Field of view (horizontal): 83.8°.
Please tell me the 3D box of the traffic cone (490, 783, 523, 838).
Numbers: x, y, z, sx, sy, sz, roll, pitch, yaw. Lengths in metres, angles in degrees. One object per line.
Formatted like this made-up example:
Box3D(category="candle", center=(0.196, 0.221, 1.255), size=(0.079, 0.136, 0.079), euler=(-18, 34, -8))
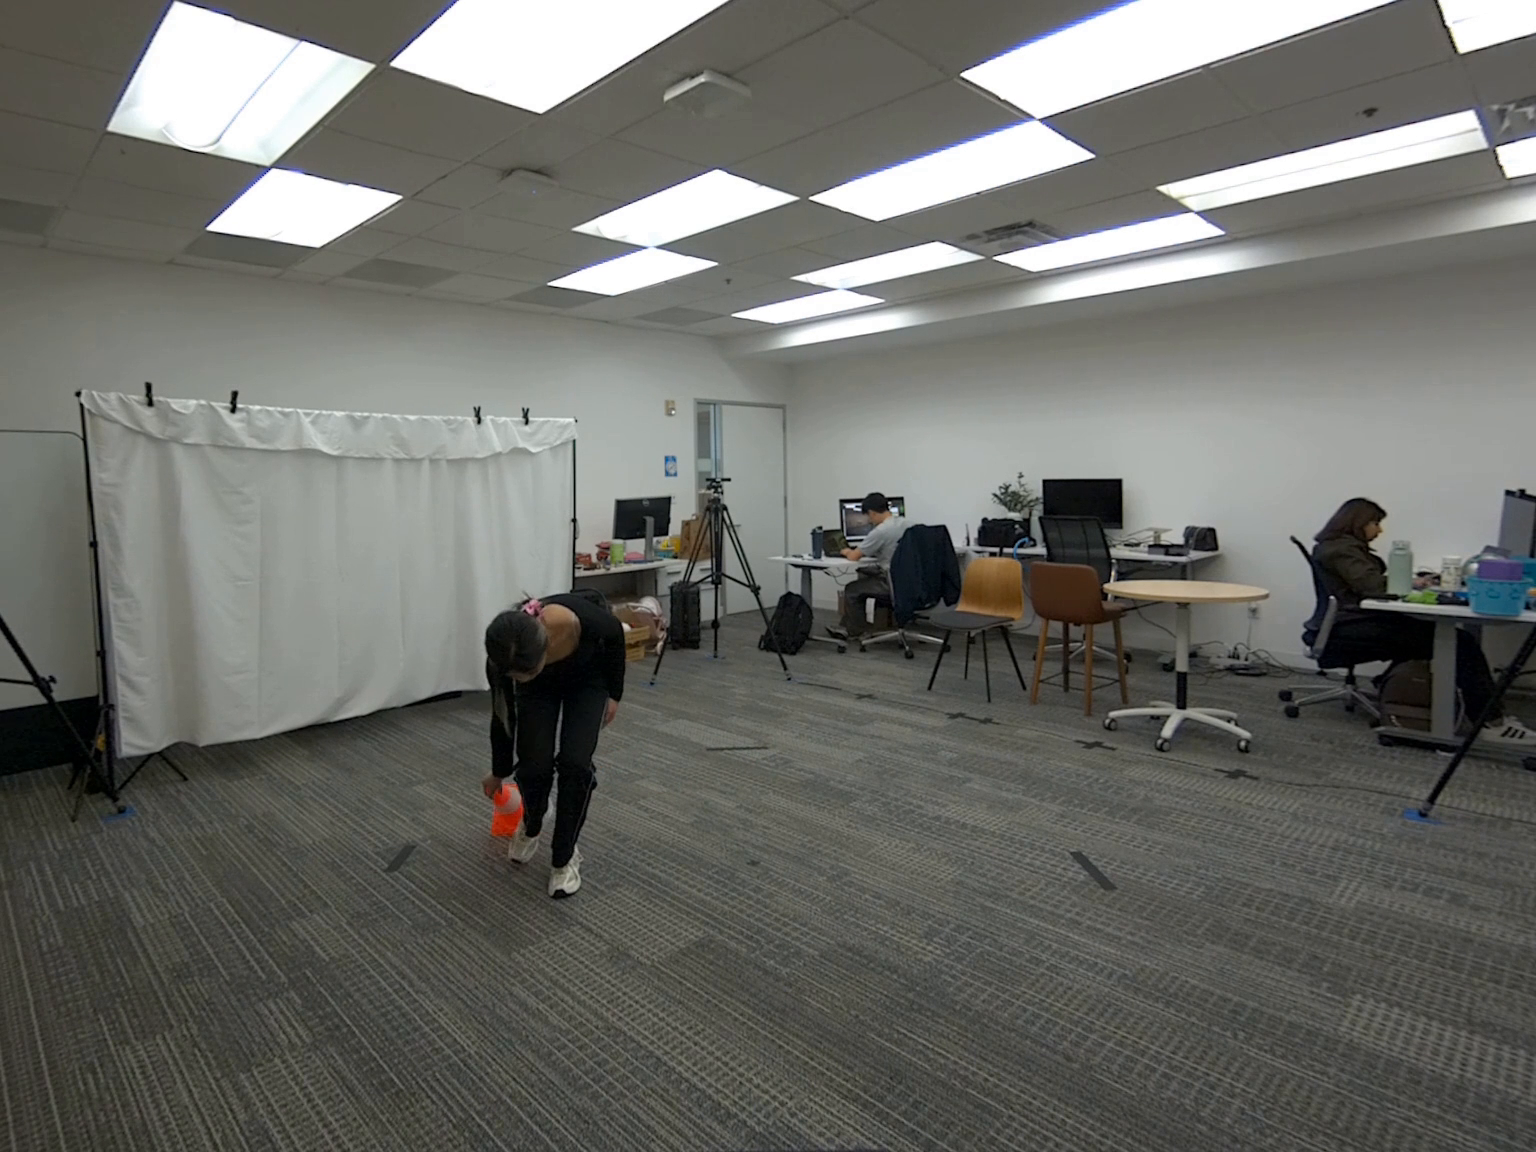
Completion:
Box3D(category="traffic cone", center=(-1.010, 0.855, 3.285), size=(0.206, 0.208, 0.373), euler=(-3, -28, 4))
